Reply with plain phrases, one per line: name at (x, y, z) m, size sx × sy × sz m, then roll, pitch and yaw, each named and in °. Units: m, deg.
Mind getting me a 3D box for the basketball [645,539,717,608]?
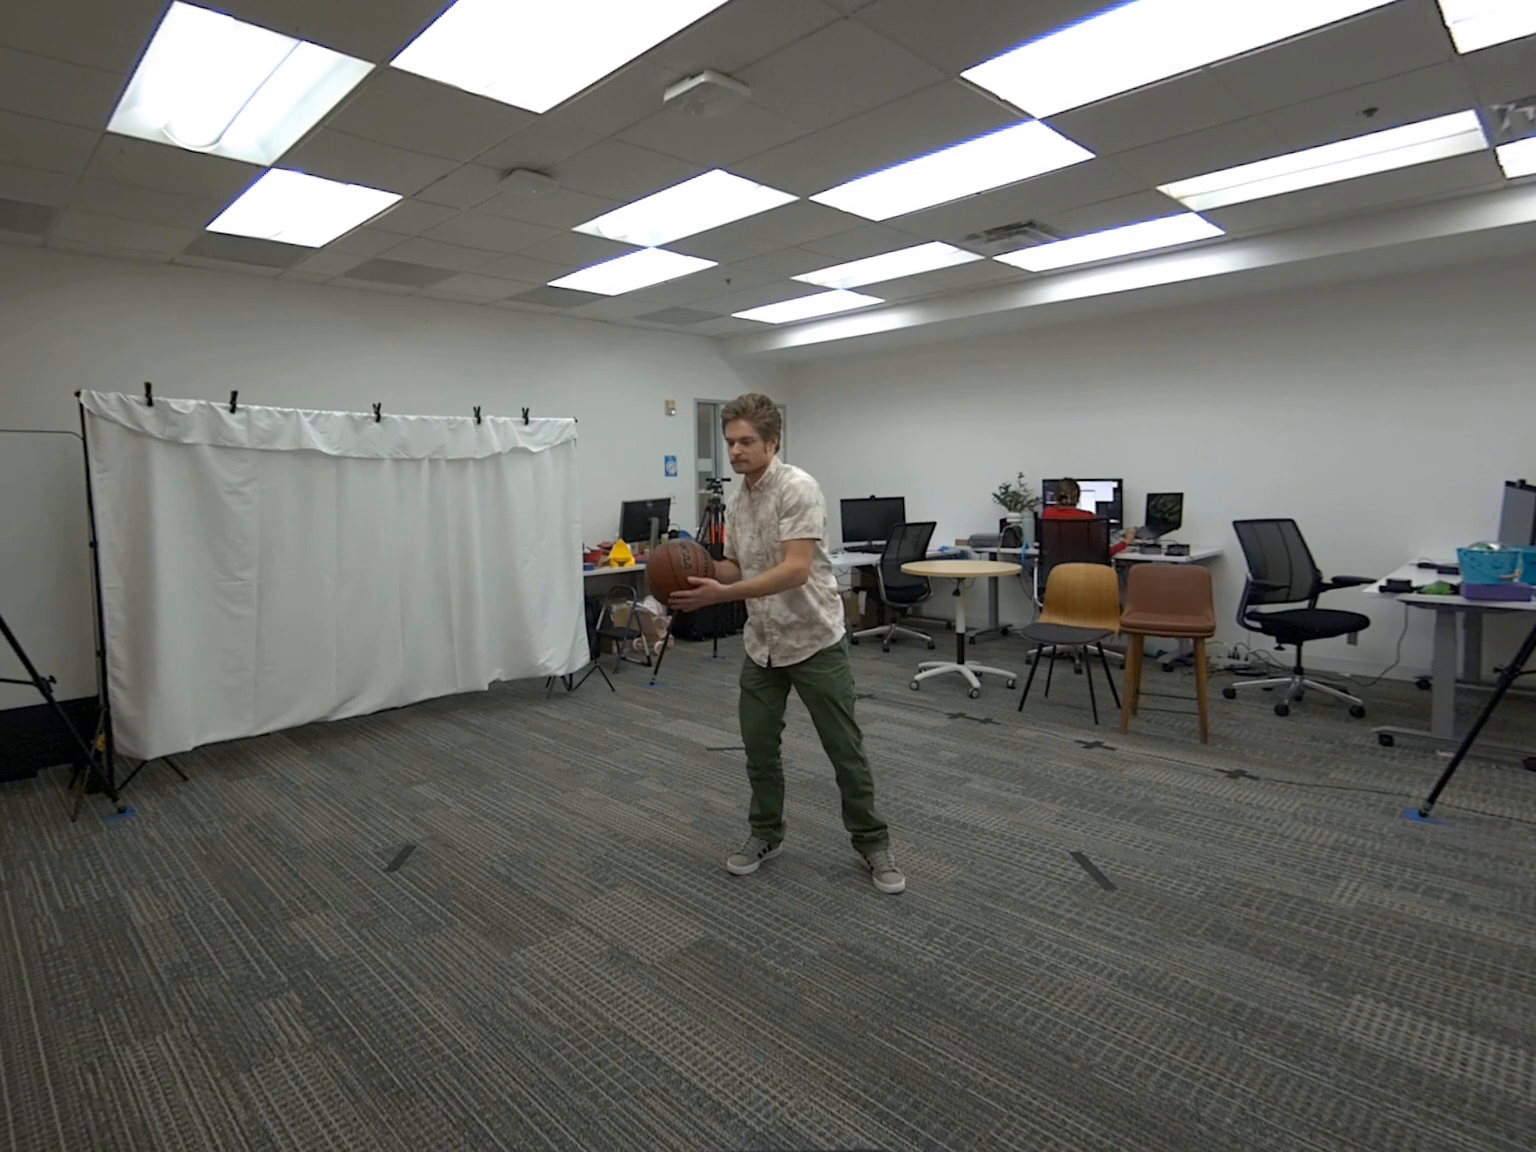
basketball at (-0.290, -0.007, 2.898) m, size 0.236 × 0.235 × 0.237 m, roll -1°, pitch 5°, yaw -2°
